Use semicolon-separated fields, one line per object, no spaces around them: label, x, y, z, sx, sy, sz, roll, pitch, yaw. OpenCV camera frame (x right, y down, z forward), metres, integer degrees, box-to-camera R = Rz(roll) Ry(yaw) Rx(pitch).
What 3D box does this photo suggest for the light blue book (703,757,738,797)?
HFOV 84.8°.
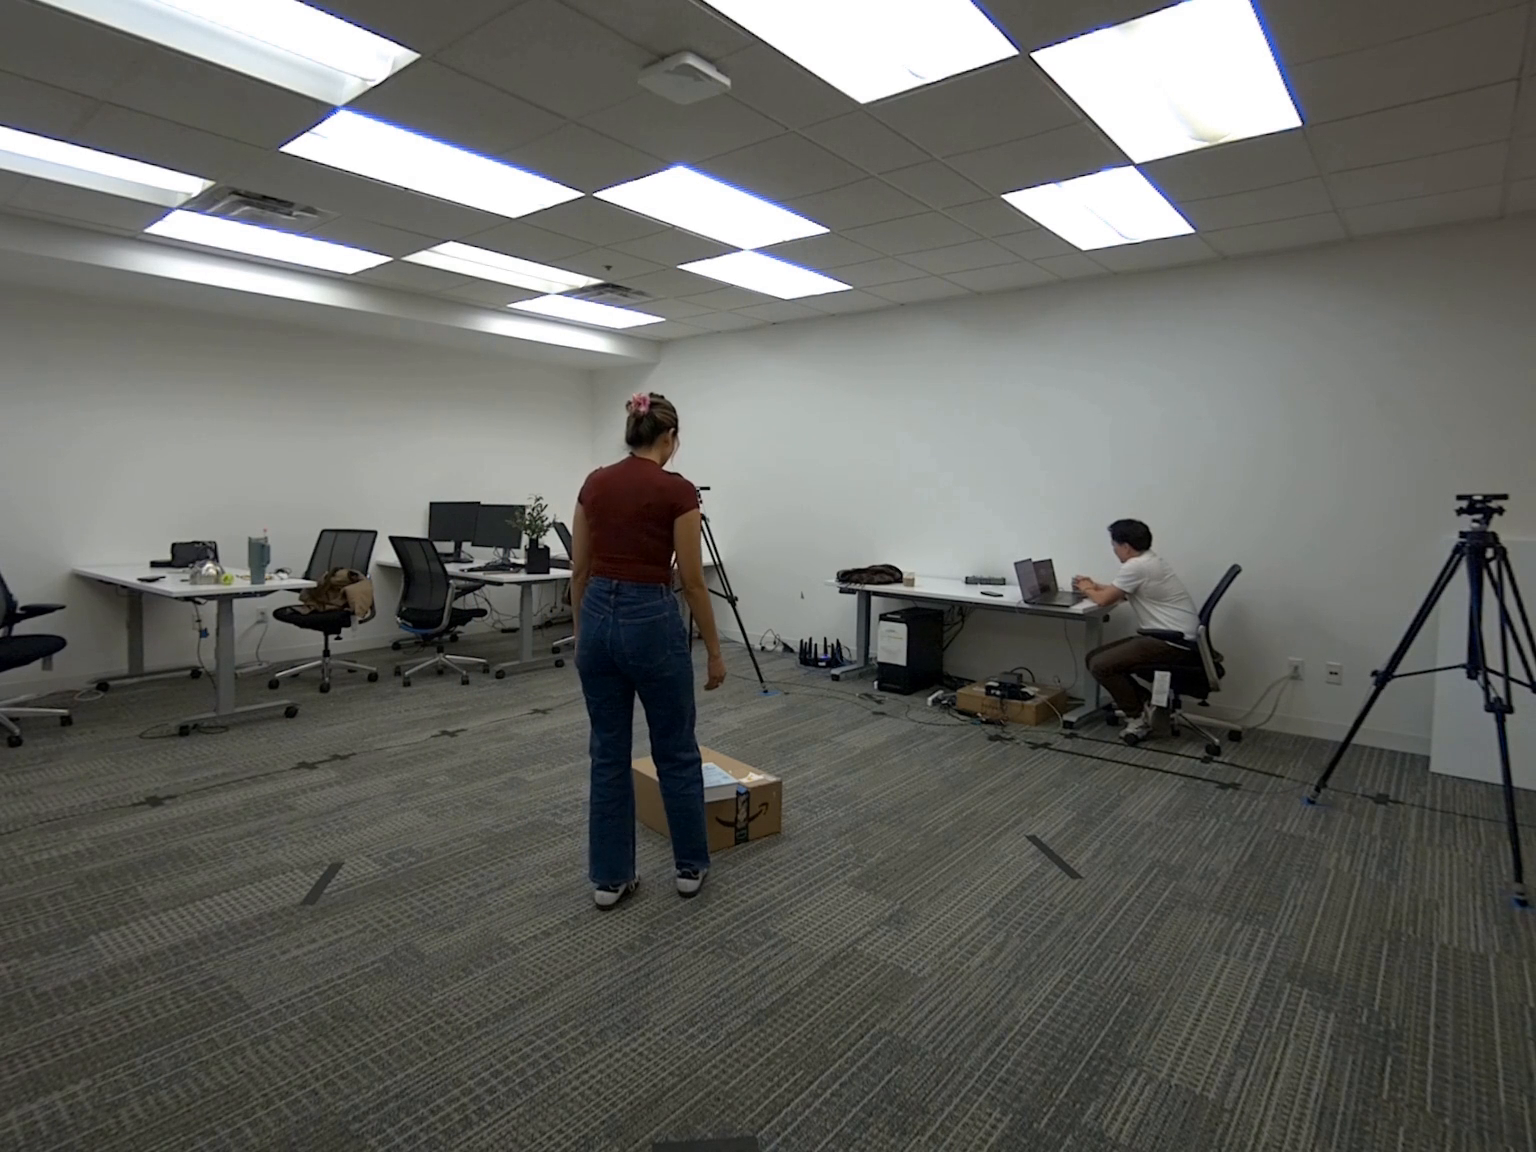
light blue book;-0.266;0.789;3.306;0.187;0.059;0.268;-2;5;-27
